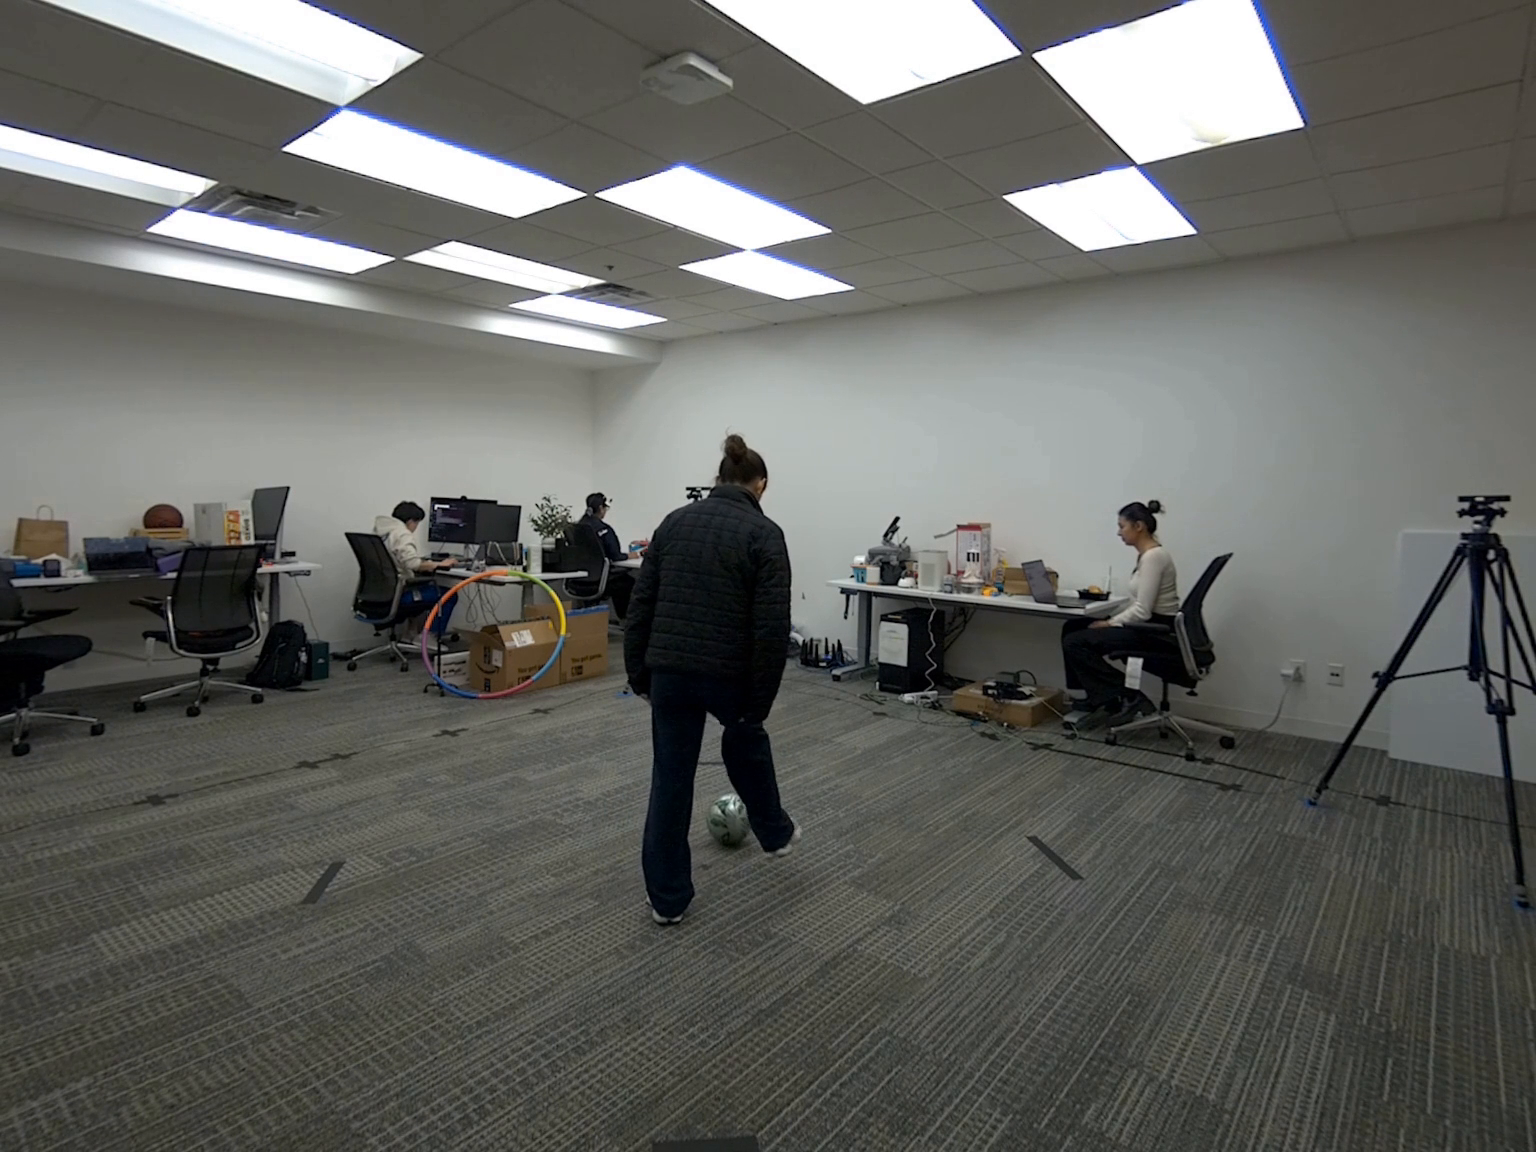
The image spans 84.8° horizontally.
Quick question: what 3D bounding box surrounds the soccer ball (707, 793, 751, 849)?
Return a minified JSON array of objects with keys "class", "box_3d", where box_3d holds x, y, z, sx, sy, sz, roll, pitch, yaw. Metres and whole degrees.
[{"class":"soccer ball","box_3d":[-0.155,0.946,3.333,0.187,0.187,0.188,1,4,-2]}]
